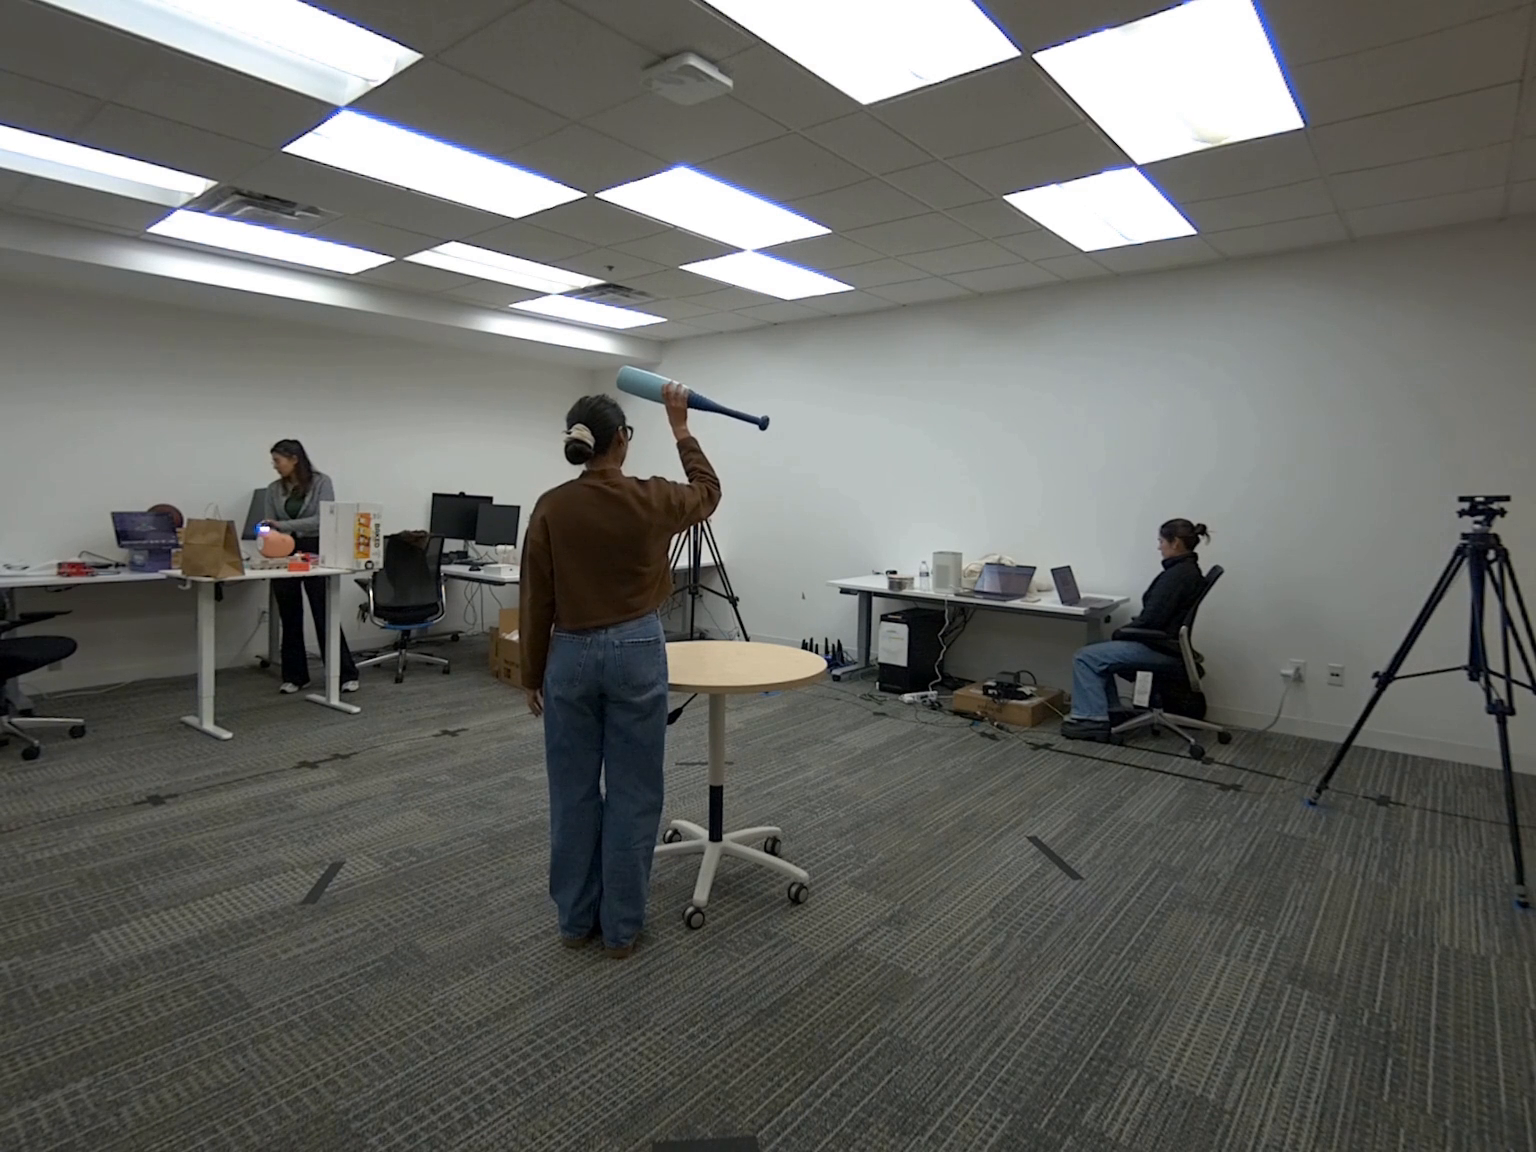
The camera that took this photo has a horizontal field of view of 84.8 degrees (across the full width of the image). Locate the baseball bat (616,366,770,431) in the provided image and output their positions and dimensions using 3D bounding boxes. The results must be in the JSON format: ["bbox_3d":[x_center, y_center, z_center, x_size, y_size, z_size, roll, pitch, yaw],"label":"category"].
[{"bbox_3d":[-0.258,-0.580,2.801,0.553,0.088,0.088,20,8,14],"label":"baseball bat"}]
